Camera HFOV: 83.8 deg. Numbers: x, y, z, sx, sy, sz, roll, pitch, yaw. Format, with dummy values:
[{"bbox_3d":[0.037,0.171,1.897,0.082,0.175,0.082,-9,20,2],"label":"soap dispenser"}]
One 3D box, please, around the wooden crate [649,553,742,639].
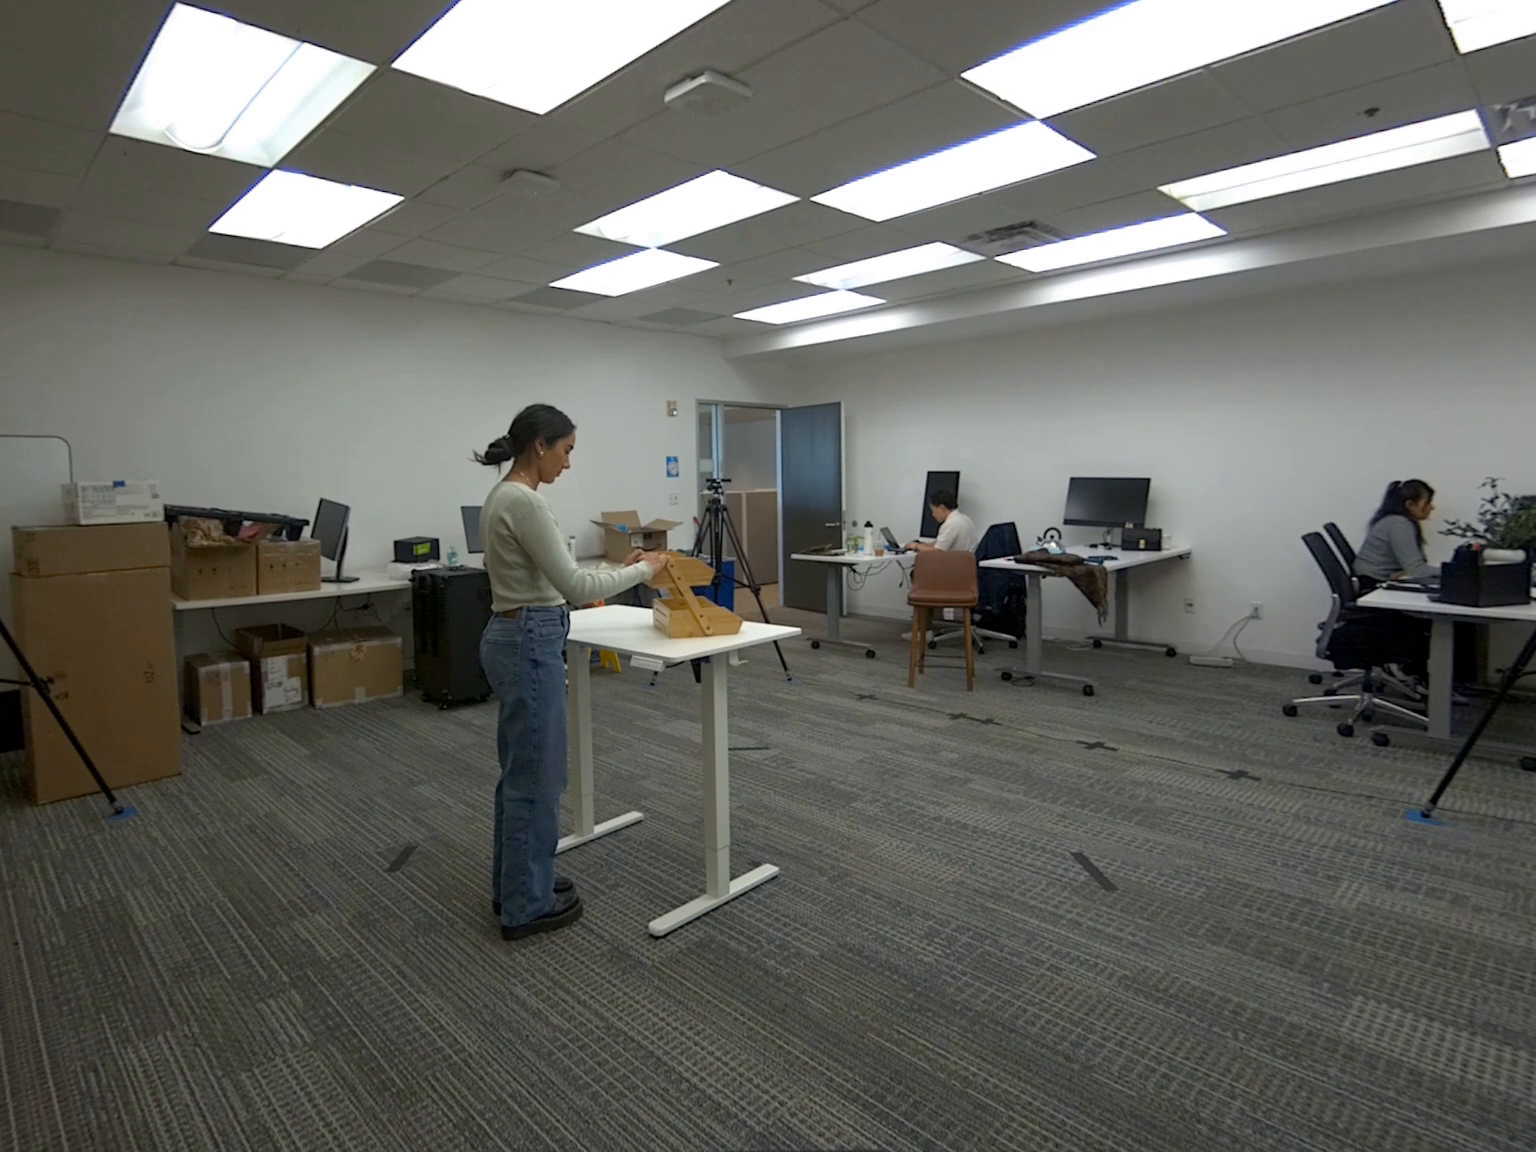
[{"bbox_3d":[-0.268,0.052,2.926,0.298,0.272,0.330,-3,4,-16],"label":"wooden crate"}]
